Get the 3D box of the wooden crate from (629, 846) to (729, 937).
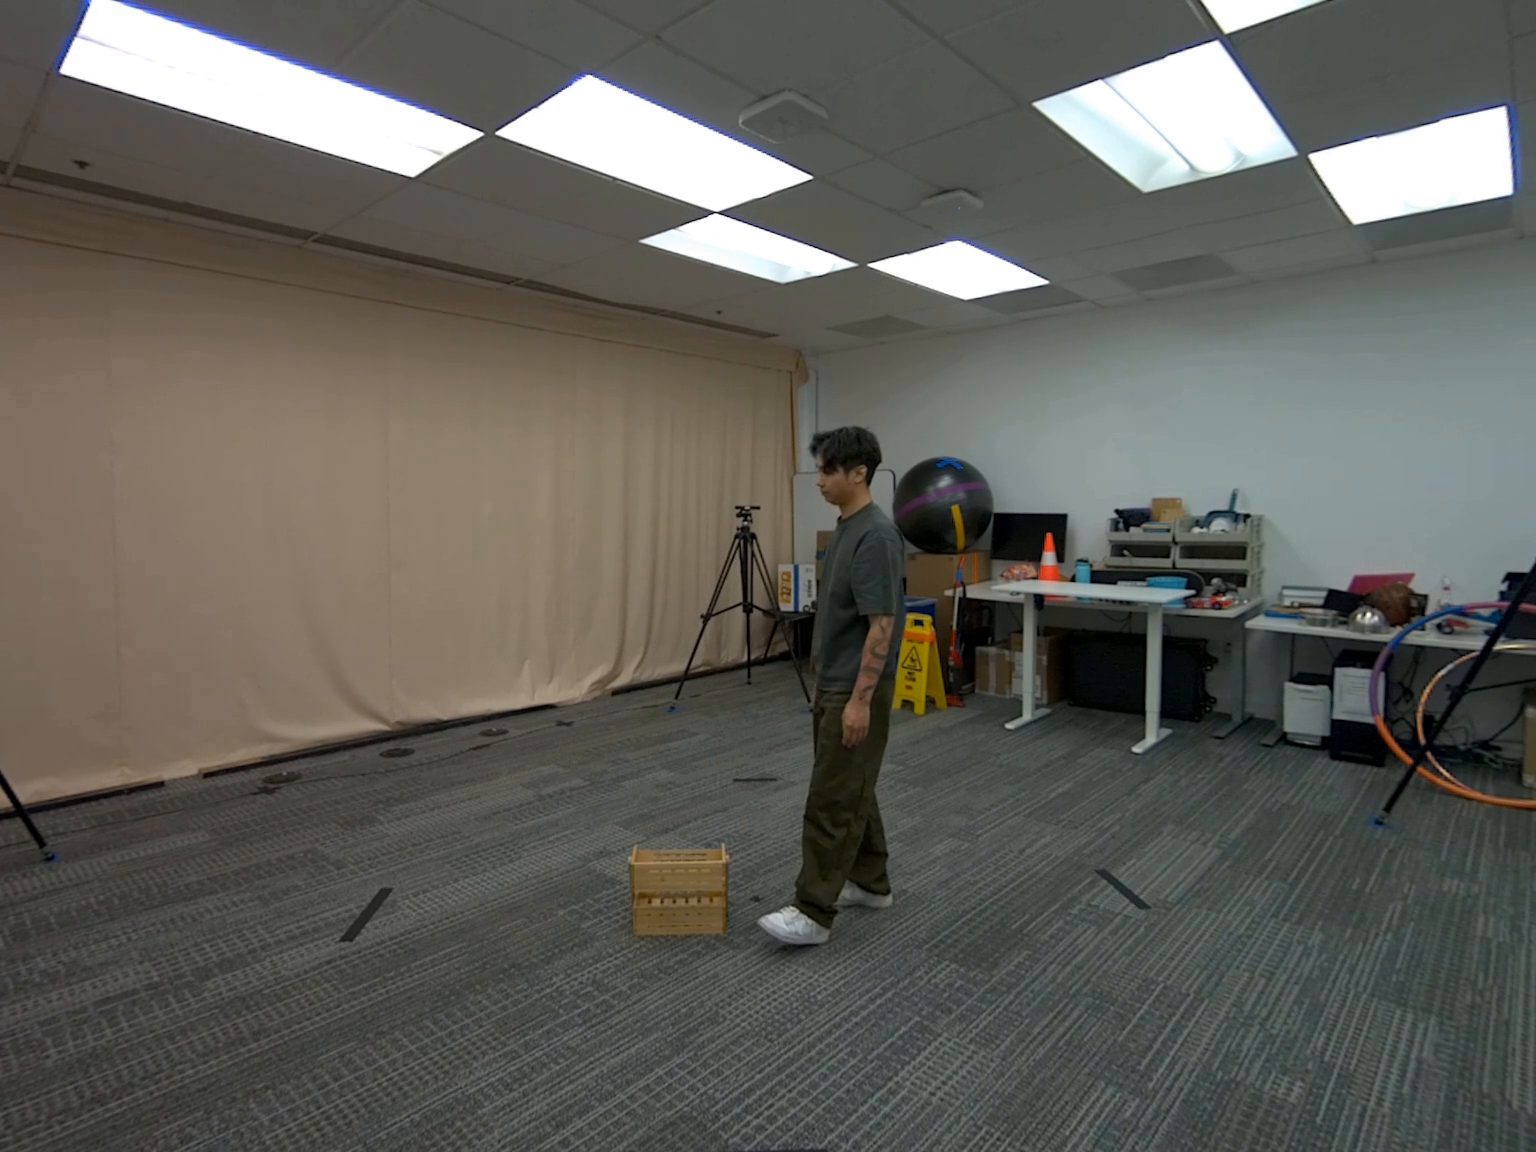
[{"bbox_3d":[-0.300,1.028,2.842,0.323,0.273,0.304,-1,4,-4],"label":"wooden crate"}]
